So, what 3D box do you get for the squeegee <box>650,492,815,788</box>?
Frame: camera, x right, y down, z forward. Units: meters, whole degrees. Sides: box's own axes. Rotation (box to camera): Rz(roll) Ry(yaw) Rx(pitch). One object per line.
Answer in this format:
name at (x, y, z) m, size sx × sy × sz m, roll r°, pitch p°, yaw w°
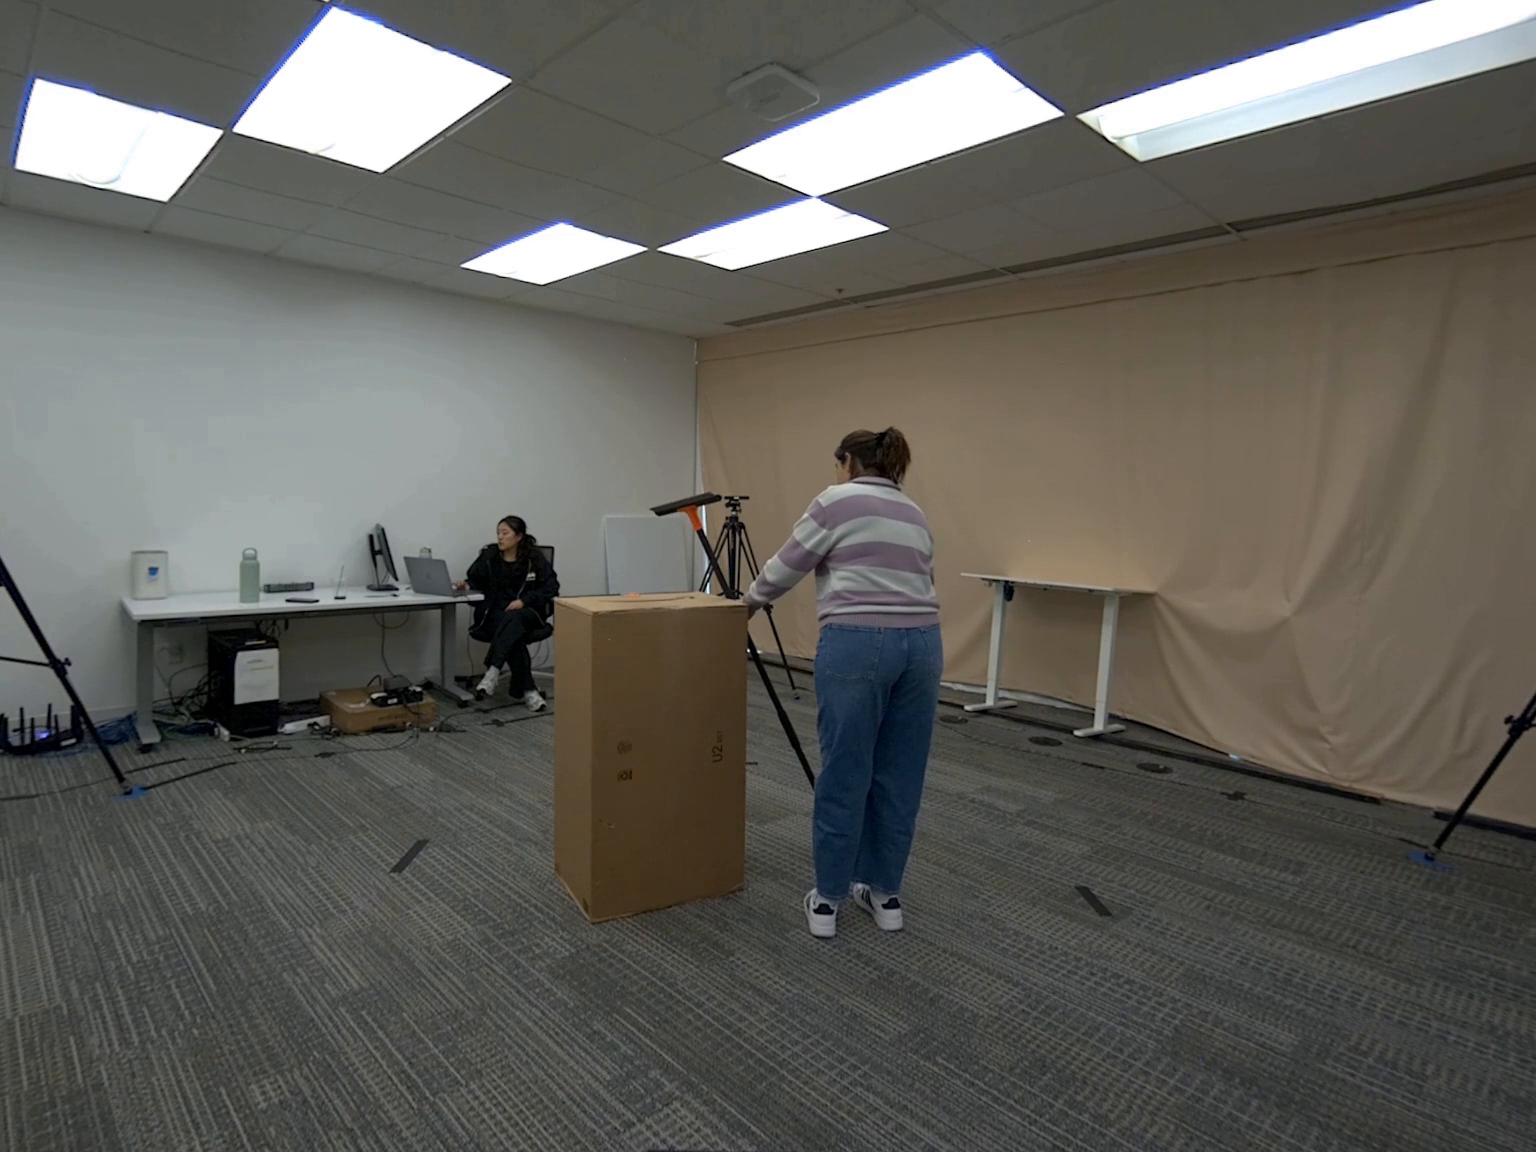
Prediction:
squeegee at (0.012, 0.403, 3.158) m, size 0.446 × 1.519 × 0.052 m, roll -9°, pitch 18°, yaw 47°
